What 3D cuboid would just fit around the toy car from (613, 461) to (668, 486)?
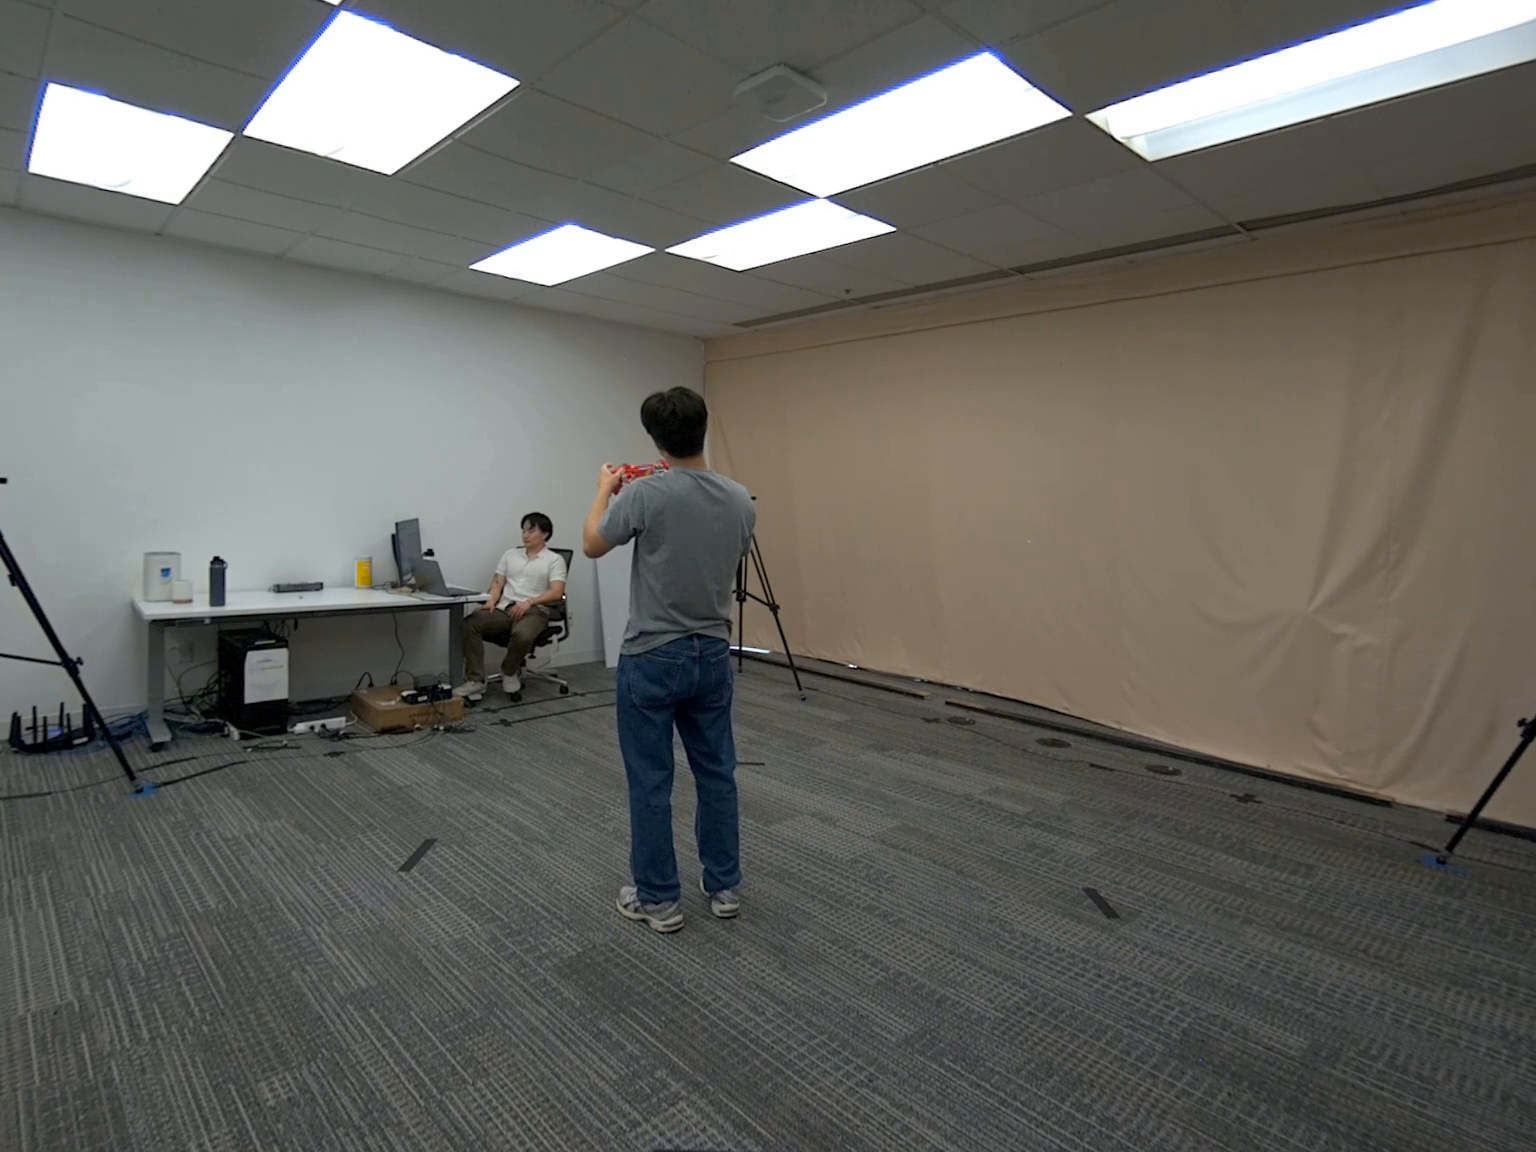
[{"bbox_3d":[-0.466,-0.346,3.039,0.250,0.129,0.085,-13,9,-39],"label":"toy car"}]
